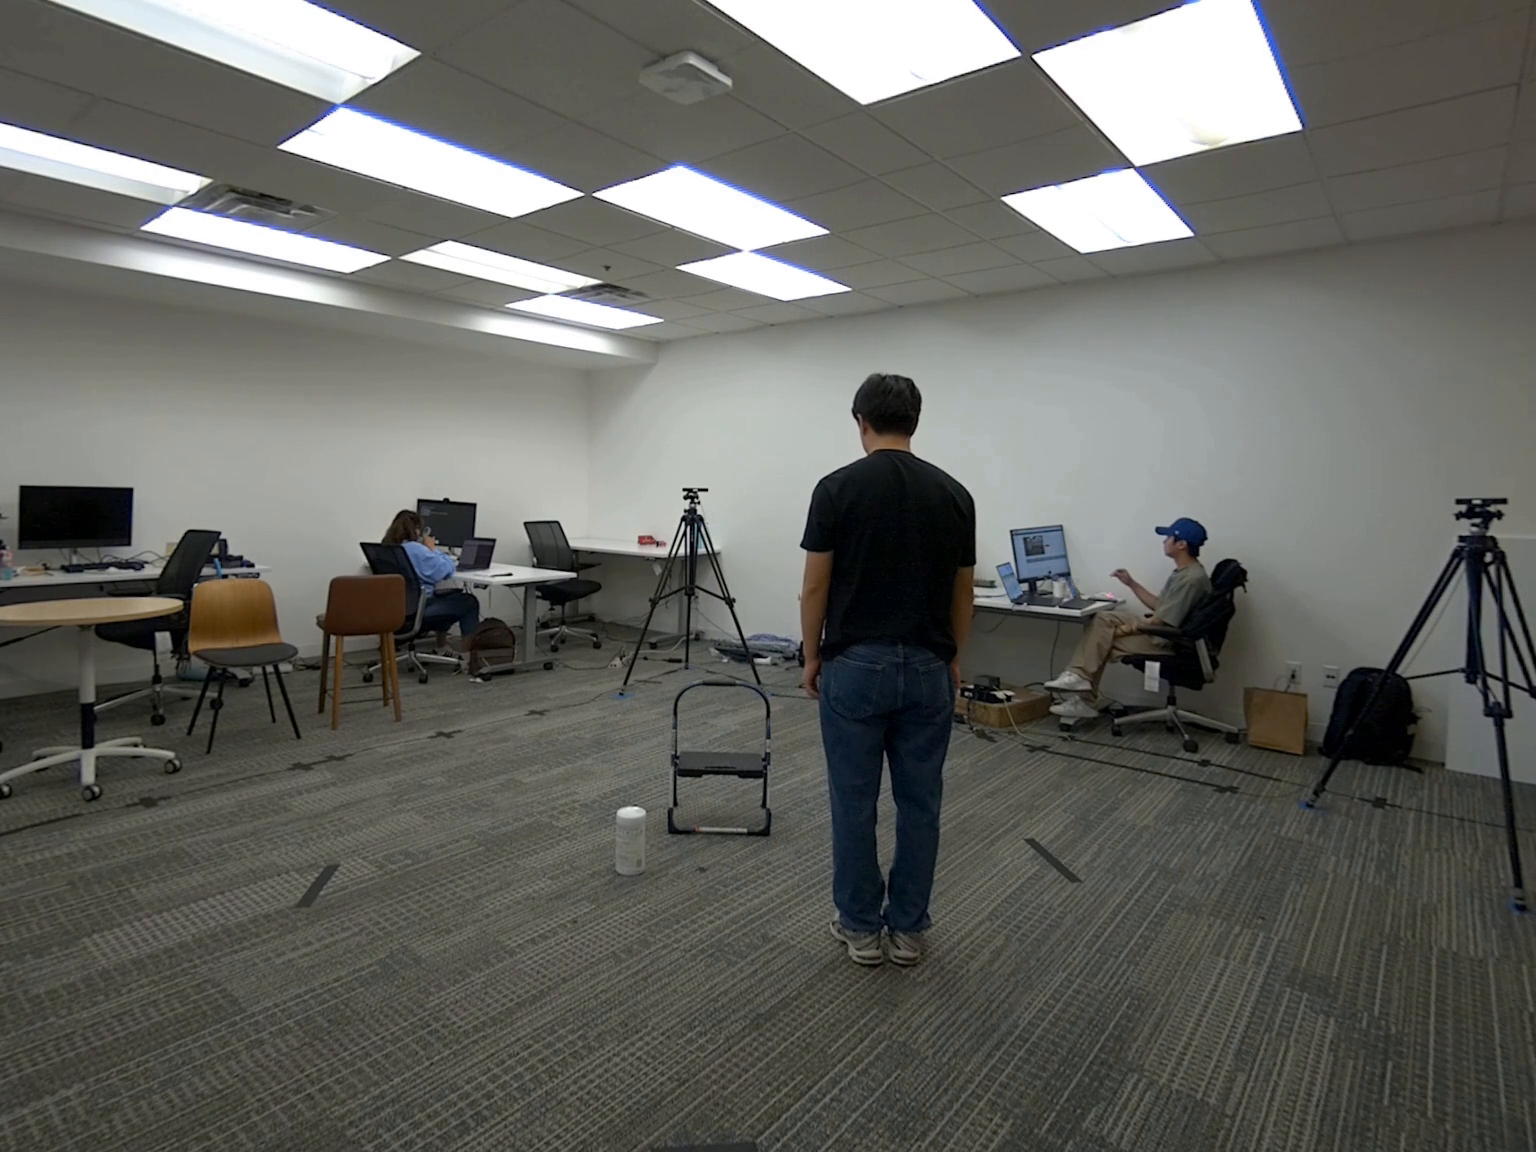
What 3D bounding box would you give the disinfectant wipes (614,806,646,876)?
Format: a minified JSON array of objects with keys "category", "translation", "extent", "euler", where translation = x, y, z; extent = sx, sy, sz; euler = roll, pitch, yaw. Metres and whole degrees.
[{"category":"disinfectant wipes","translation":[-0.505,0.959,3.091],"extent":[0.118,0.217,0.118],"euler":[2,2,-2]}]
